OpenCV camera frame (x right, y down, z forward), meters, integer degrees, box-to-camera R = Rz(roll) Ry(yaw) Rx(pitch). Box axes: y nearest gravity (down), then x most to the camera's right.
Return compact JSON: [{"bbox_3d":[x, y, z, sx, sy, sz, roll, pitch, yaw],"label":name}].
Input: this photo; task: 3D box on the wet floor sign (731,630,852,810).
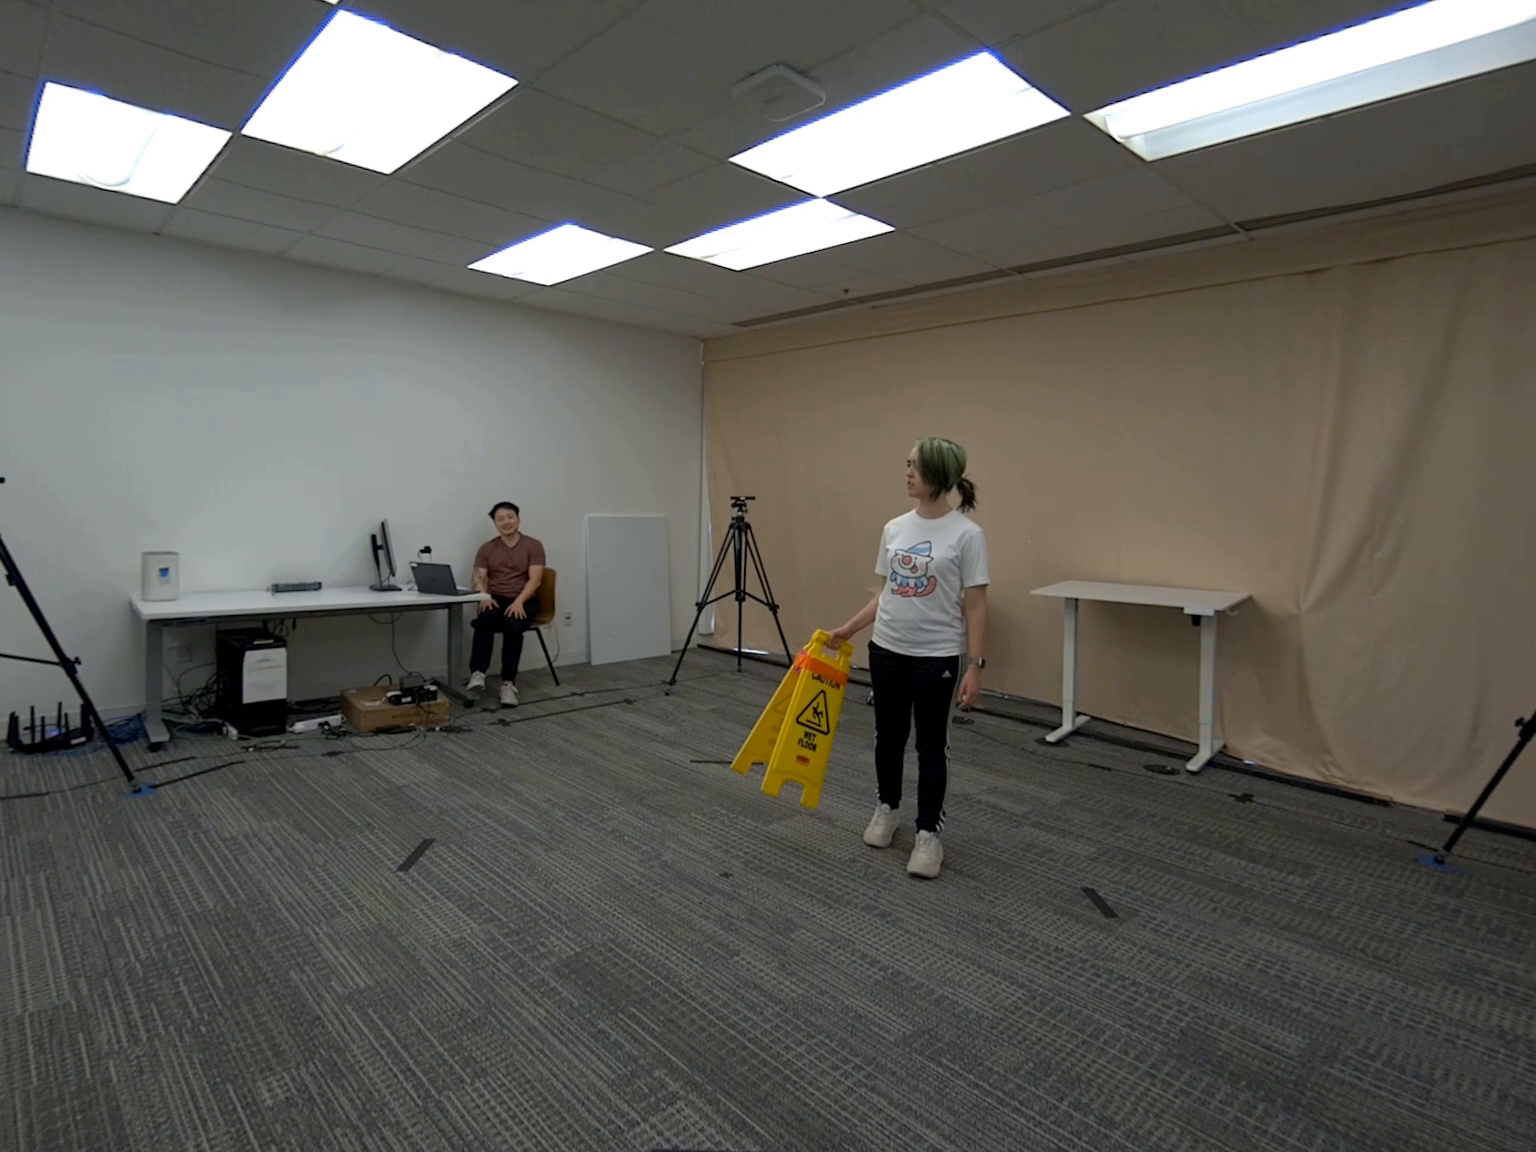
[{"bbox_3d":[0.142,0.543,3.344,0.275,0.647,0.297,26,-7,-30],"label":"wet floor sign"}]
